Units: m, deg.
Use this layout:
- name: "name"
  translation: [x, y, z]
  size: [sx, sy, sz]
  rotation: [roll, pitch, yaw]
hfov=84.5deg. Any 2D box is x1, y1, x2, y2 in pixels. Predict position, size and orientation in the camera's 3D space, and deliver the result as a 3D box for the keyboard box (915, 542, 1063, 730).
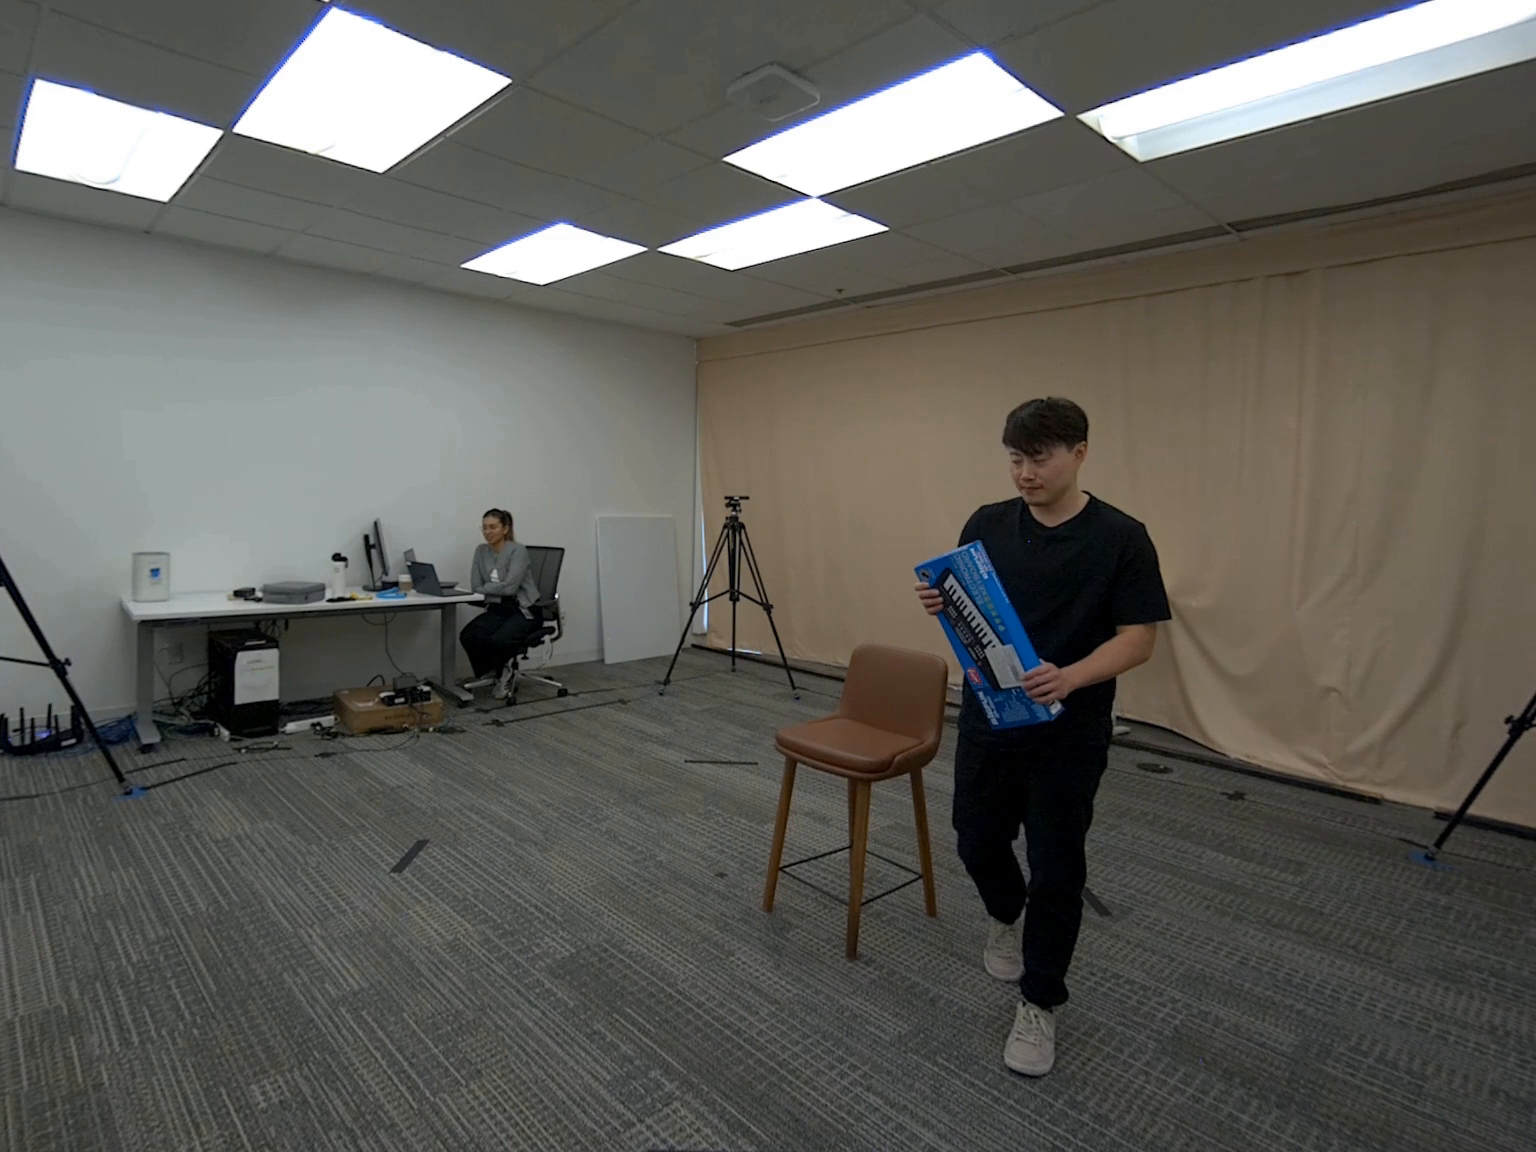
- name: "keyboard box"
  translation: [0.521, 0.151, 1.987]
  size: [0.058, 0.438, 0.178]
  rotation: [-23, -3, -39]
